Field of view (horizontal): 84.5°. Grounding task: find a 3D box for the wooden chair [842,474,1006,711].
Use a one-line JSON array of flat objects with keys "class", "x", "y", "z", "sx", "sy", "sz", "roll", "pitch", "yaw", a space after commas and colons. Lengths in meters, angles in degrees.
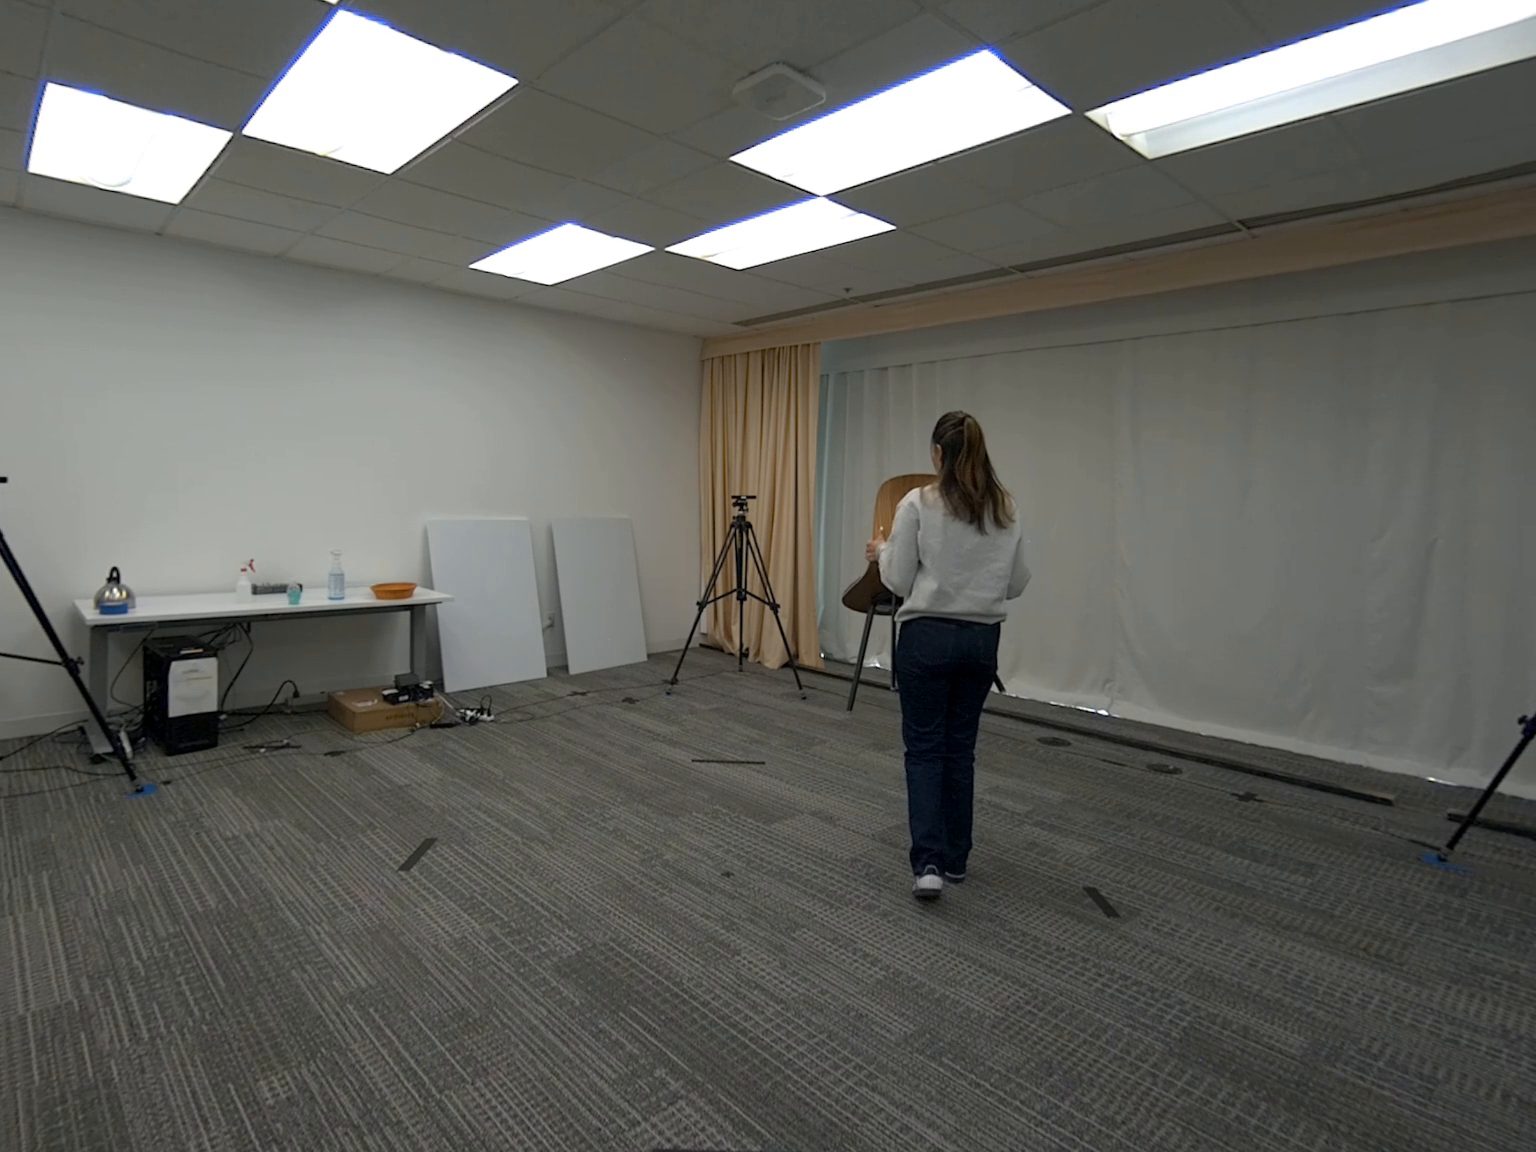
[{"class": "wooden chair", "x": 0.566, "y": 0.092, "z": 3.408, "sx": 0.473, "sy": 0.889, "sz": 0.522, "roll": 3, "pitch": -18, "yaw": -14}]
